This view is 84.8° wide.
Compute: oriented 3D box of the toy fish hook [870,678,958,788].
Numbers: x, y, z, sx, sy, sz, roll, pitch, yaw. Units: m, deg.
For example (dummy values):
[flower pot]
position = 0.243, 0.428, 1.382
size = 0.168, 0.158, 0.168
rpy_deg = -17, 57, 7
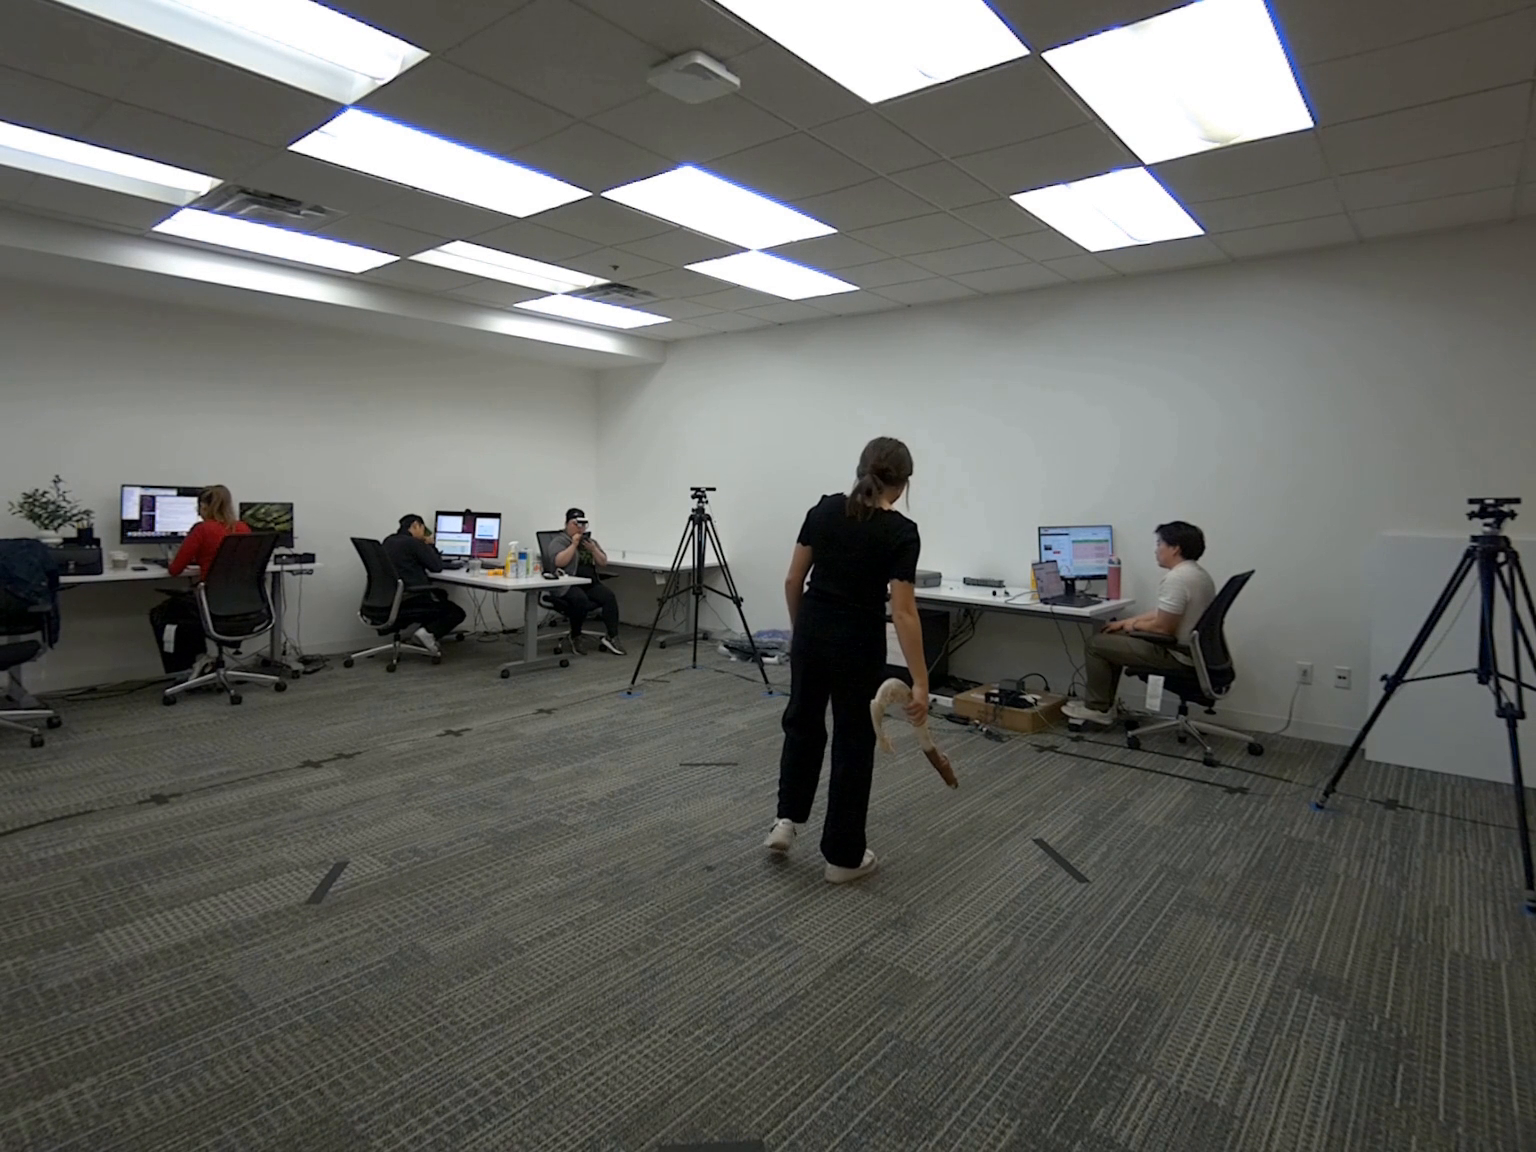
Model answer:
[toy fish hook]
position = 0.474, 0.555, 2.803
size = 0.049, 0.493, 0.224
rpy_deg = -7, 34, 53
